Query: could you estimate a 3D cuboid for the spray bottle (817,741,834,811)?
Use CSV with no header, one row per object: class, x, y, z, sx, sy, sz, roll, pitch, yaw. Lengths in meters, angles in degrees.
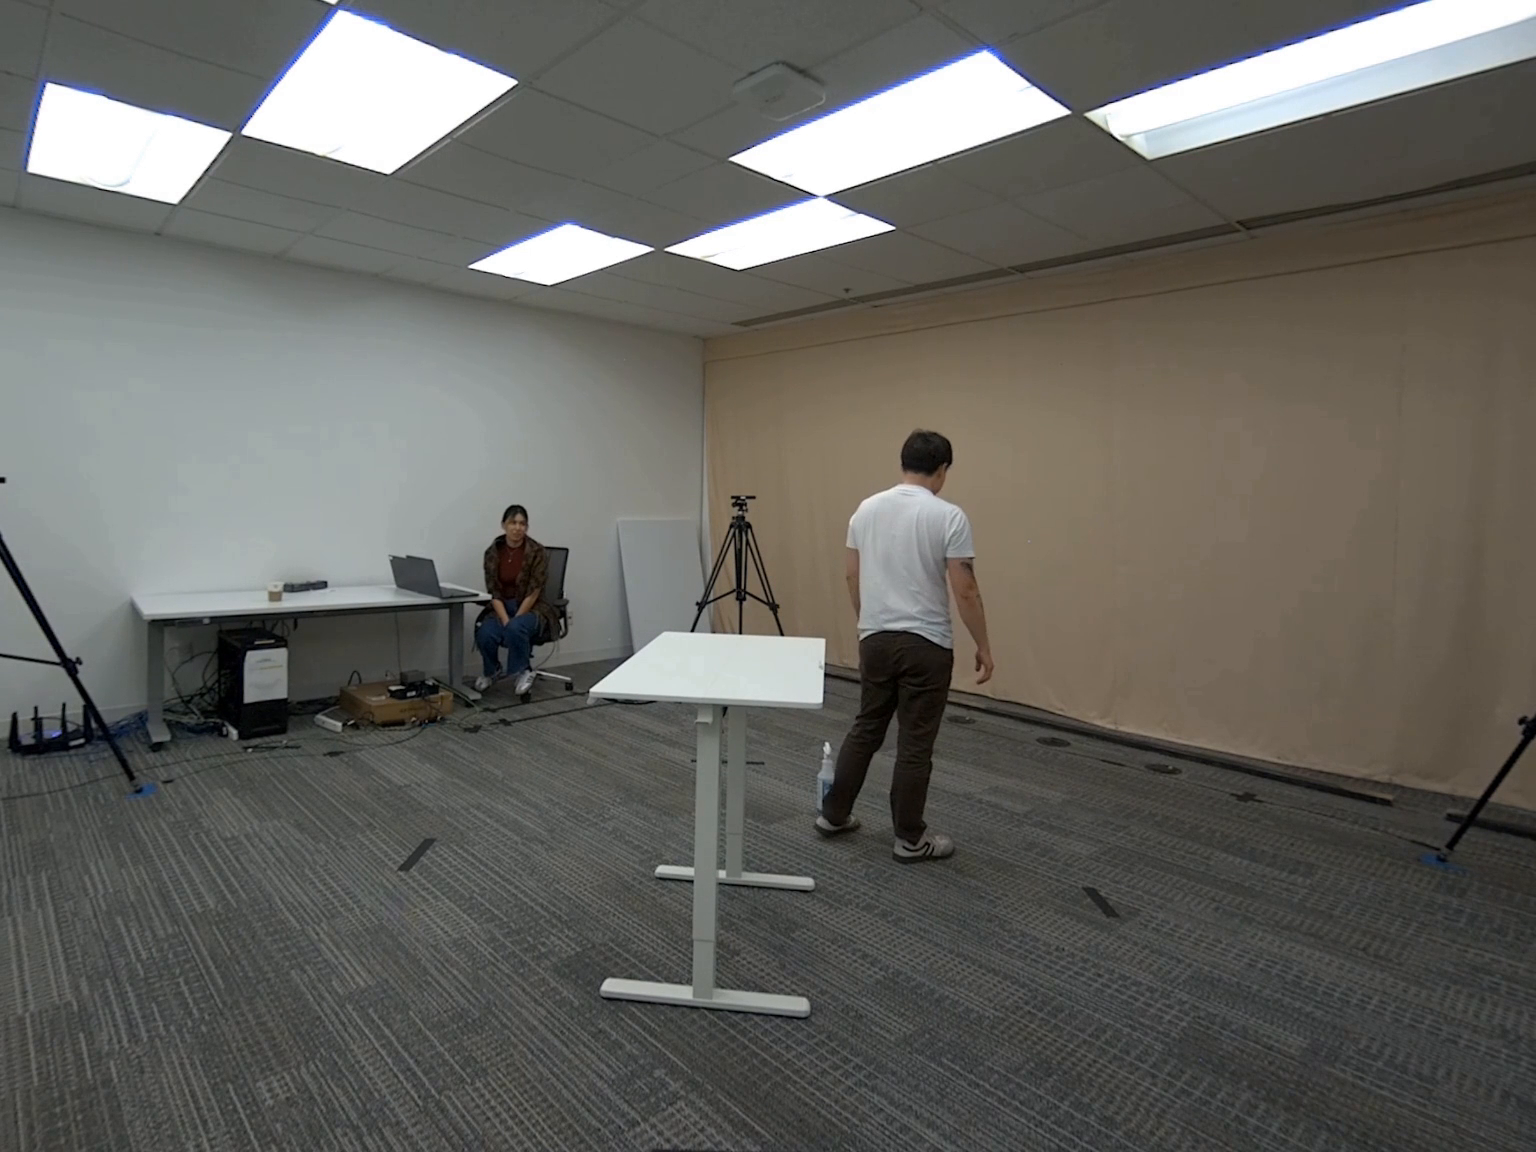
spray bottle,0.257,0.910,3.783,0.089,0.297,0.088,2,3,26
